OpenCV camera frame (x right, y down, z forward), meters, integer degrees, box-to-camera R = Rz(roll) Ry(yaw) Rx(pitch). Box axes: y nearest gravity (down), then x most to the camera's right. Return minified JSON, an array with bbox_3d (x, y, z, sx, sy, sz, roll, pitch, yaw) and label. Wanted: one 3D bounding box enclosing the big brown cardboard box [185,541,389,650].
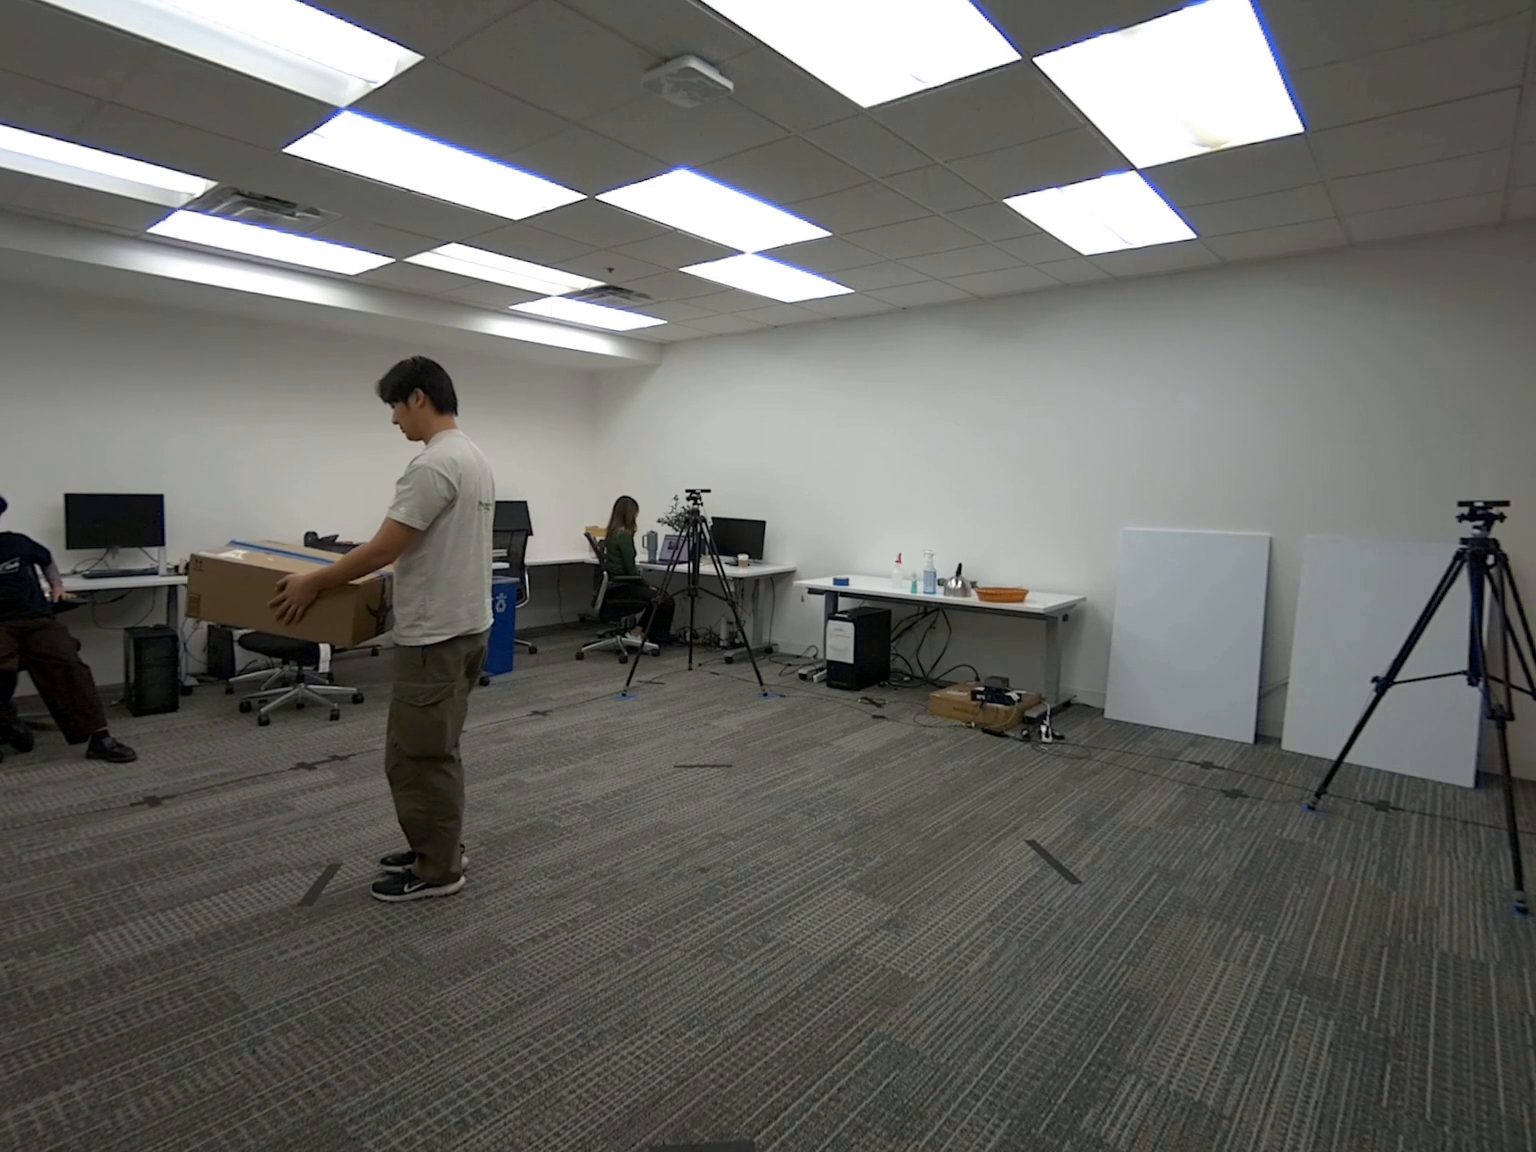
[{"bbox_3d":[-1.613,0.048,2.941,0.590,0.232,0.419,11,8,1],"label":"big brown cardboard box"}]
